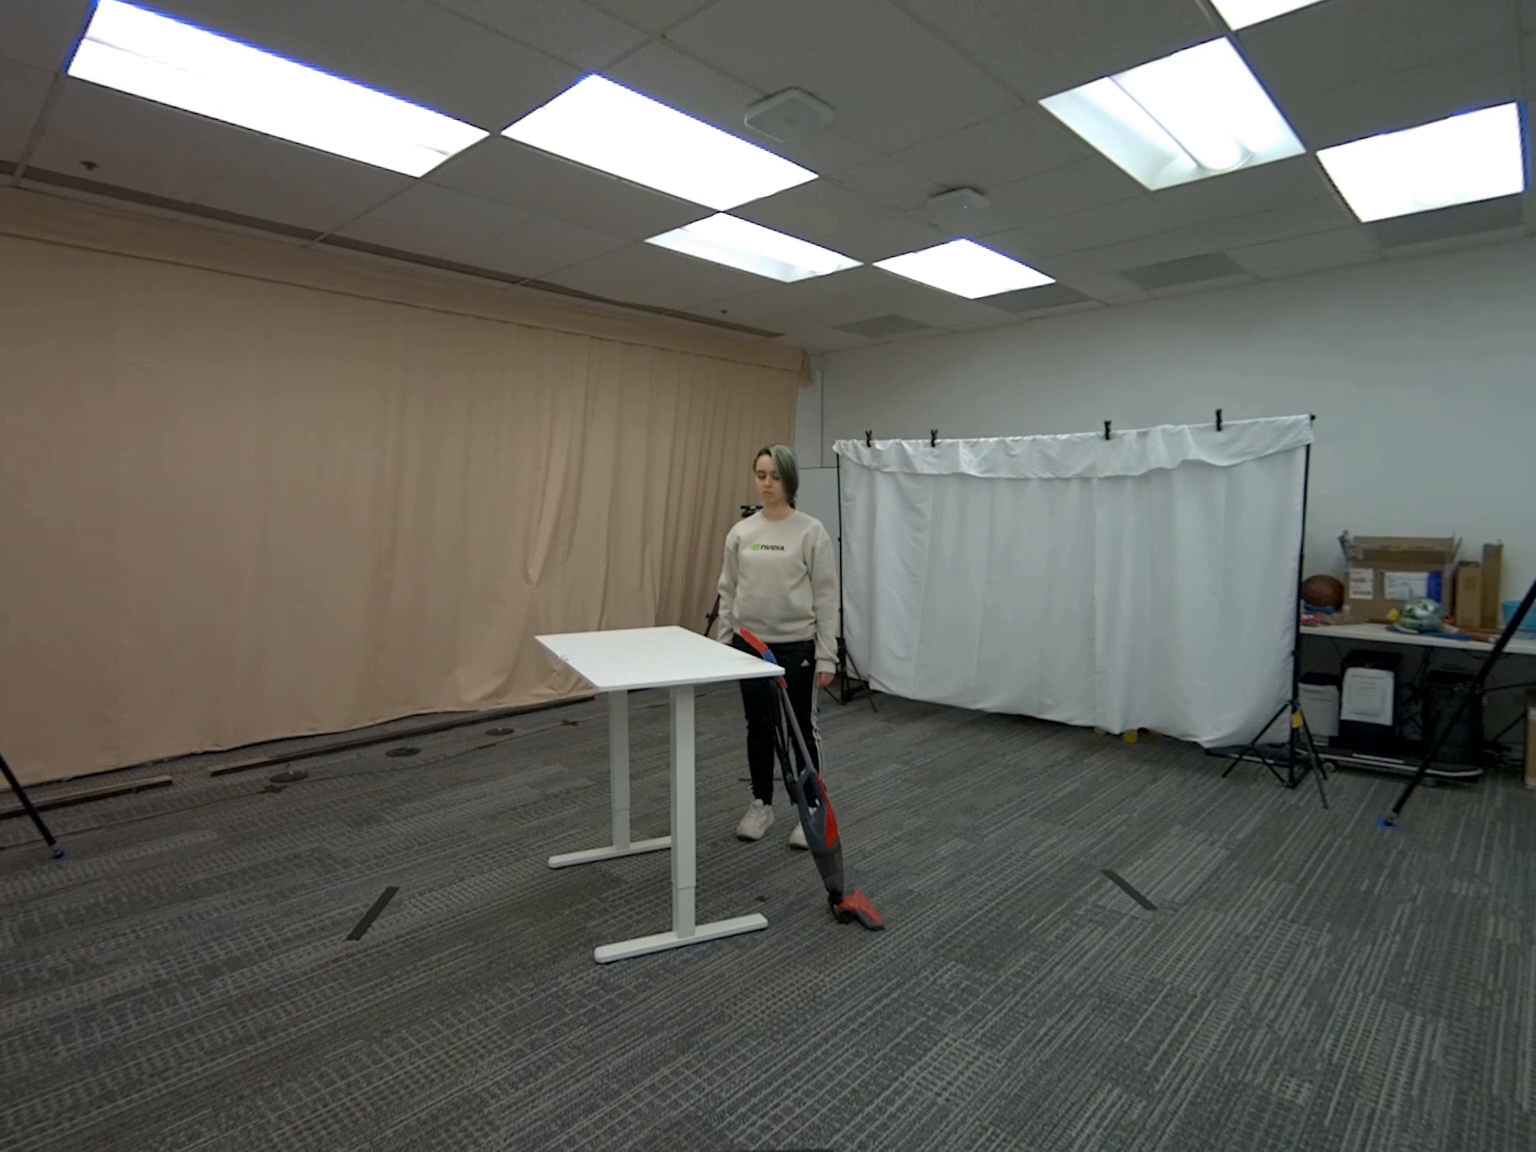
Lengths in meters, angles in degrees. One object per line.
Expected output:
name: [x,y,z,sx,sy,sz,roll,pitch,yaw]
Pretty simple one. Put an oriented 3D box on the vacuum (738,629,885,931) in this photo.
vacuum: [0.112,0.664,2.820,0.143,1.044,0.256,-23,5,-10]
